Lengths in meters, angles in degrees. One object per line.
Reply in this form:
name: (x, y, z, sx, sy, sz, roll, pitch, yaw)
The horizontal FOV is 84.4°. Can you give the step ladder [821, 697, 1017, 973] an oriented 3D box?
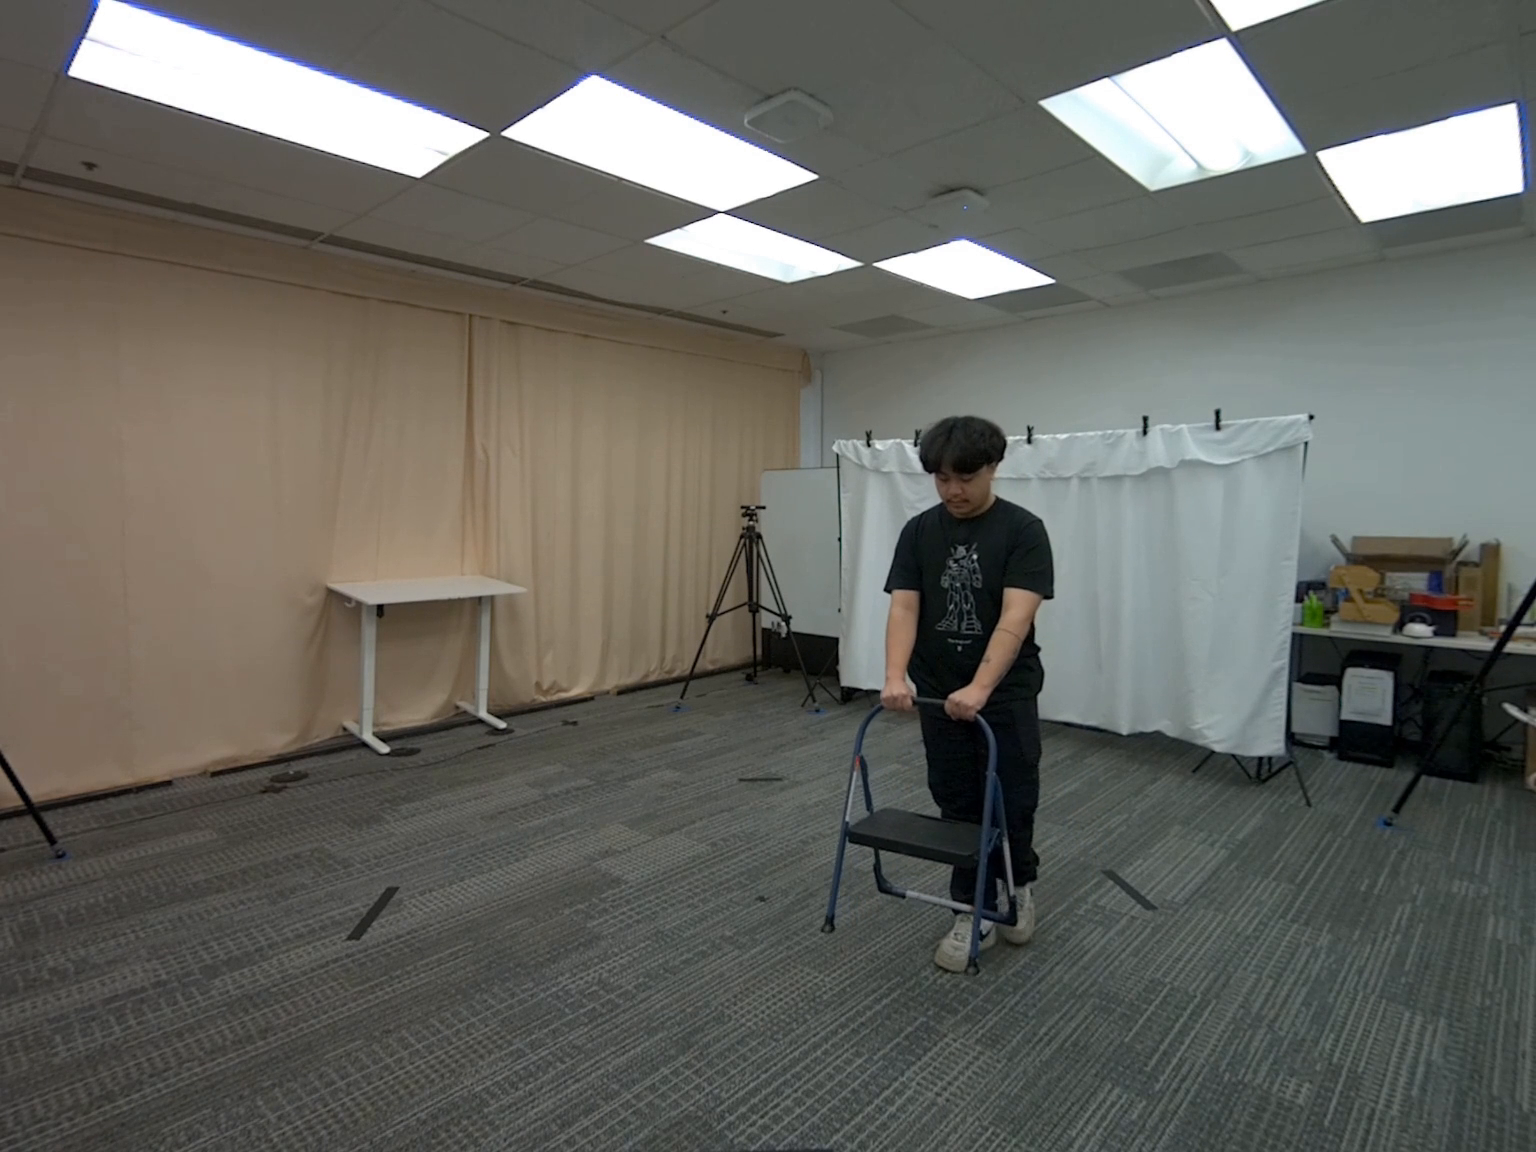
step ladder: (0.420, 0.652, 2.277, 0.444, 0.606, 0.339, 0, 1, 35)
